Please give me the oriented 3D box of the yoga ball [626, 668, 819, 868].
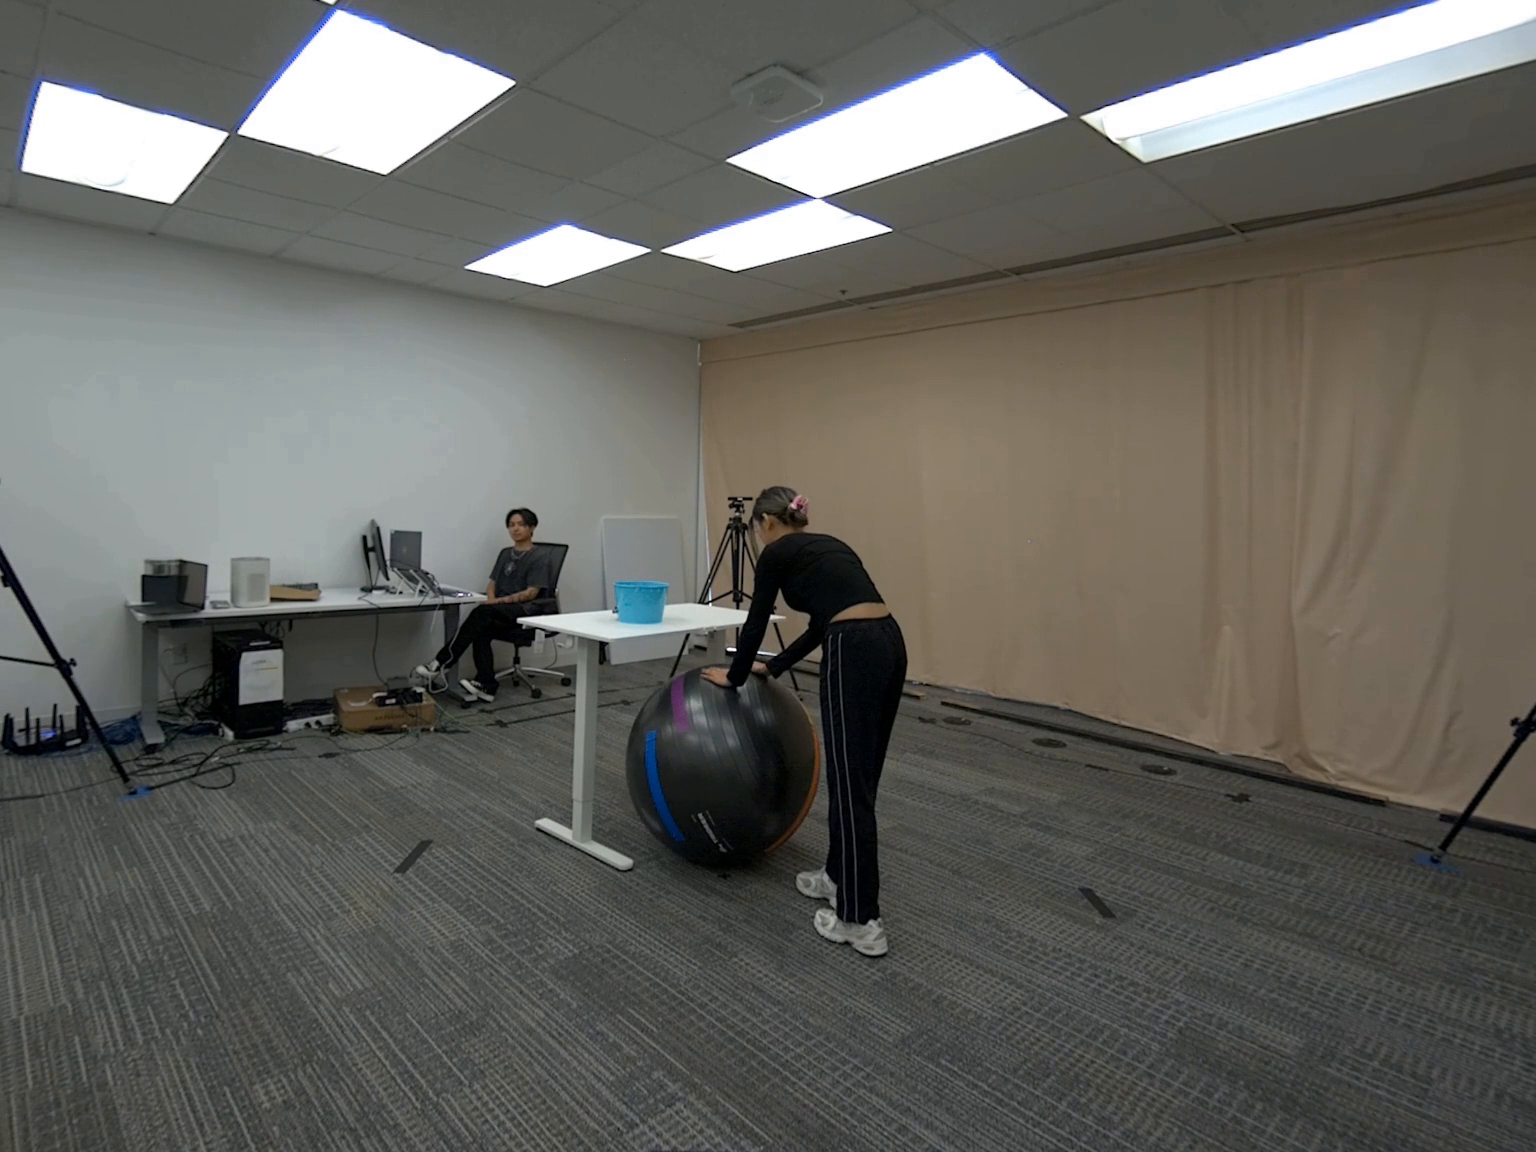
[{"bbox_3d":[-0.185,0.722,3.294,0.757,0.756,0.760,1,4,-1],"label":"yoga ball"}]
